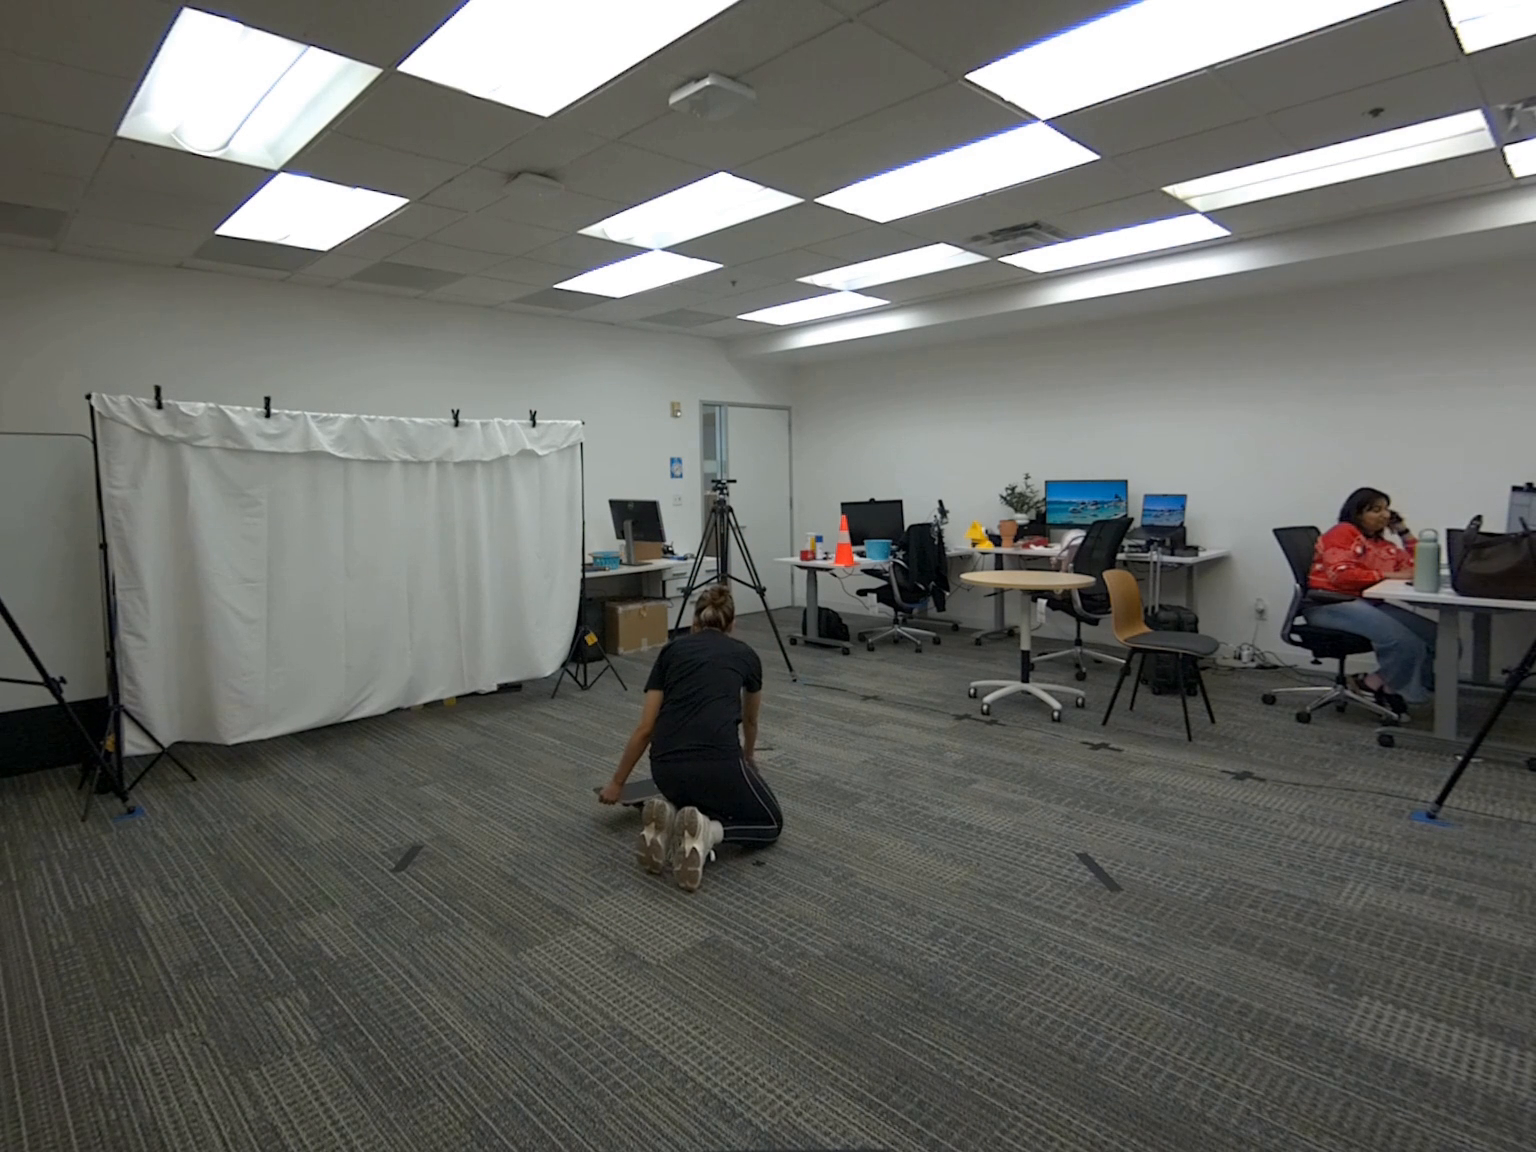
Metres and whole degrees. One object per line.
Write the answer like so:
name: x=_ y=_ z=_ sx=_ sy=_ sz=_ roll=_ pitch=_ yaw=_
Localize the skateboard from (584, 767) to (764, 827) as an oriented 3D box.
skateboard: x=-0.390 y=0.920 z=3.688 sx=0.764 sy=0.110 sz=0.199 roll=-1 pitch=4 yaw=-37
